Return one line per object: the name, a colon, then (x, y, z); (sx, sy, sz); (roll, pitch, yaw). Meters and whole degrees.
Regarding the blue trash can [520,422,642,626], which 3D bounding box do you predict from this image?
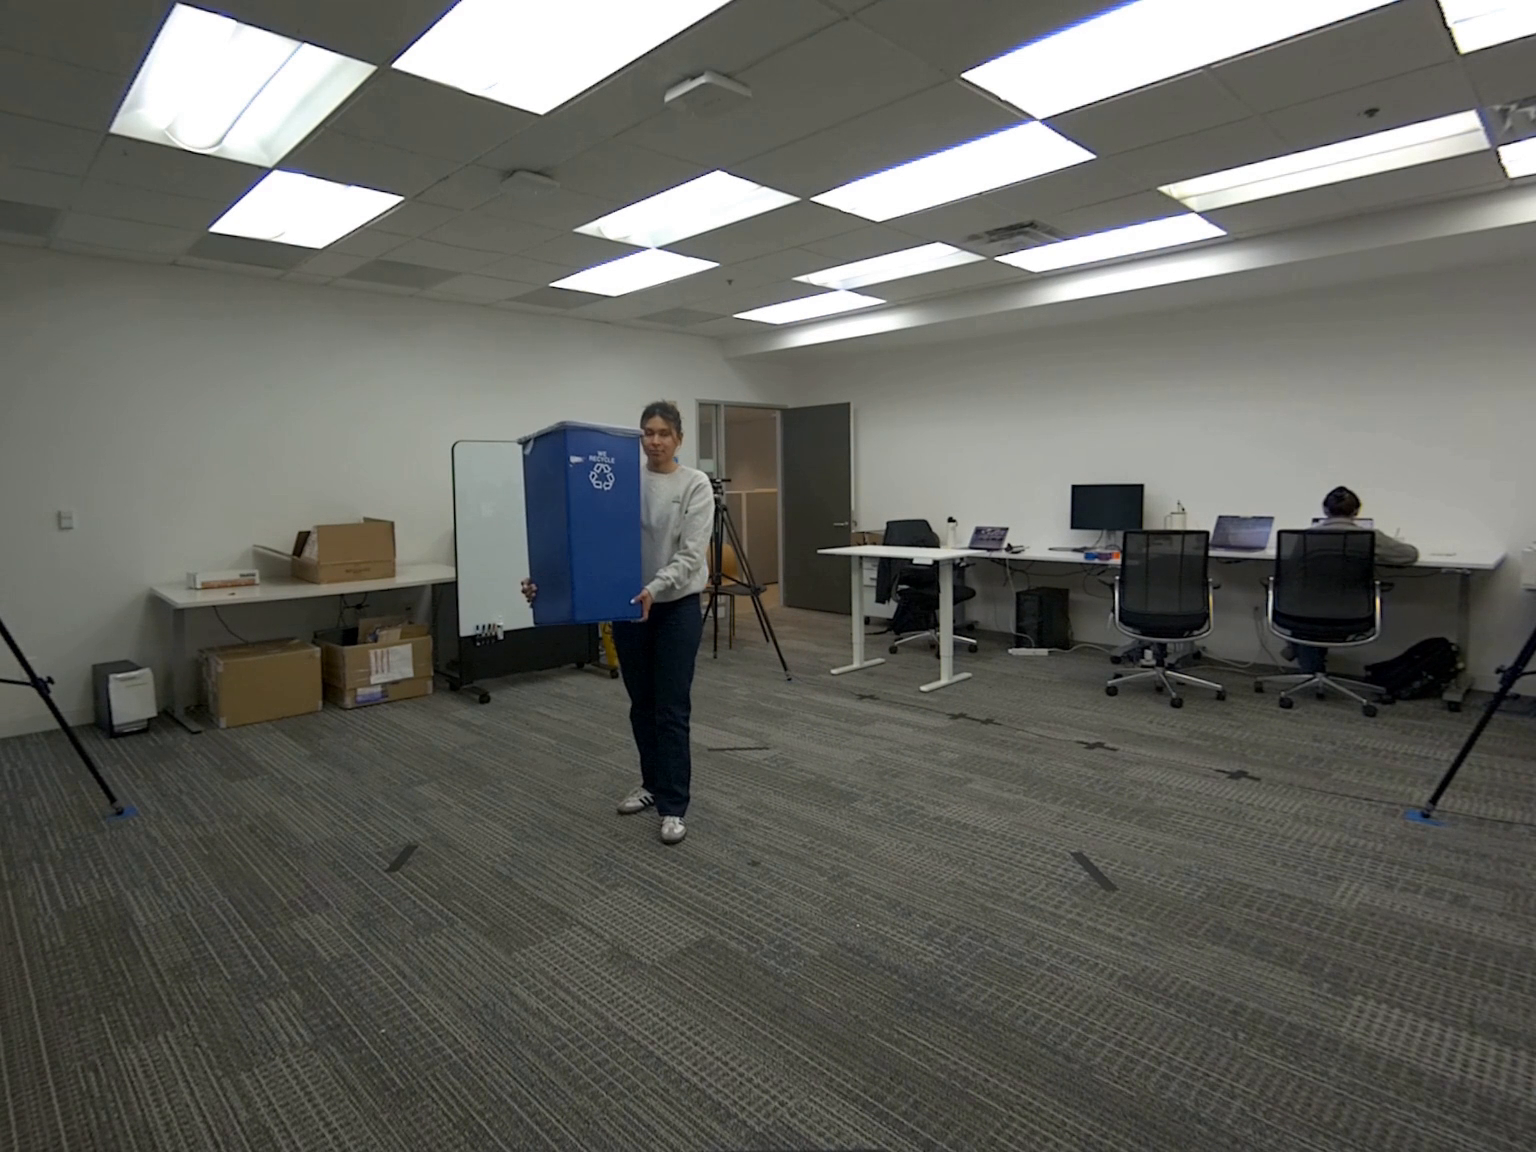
blue trash can: (-0.690, -0.184, 3.216); (0.363, 0.717, 0.387); (1, -6, -43)
